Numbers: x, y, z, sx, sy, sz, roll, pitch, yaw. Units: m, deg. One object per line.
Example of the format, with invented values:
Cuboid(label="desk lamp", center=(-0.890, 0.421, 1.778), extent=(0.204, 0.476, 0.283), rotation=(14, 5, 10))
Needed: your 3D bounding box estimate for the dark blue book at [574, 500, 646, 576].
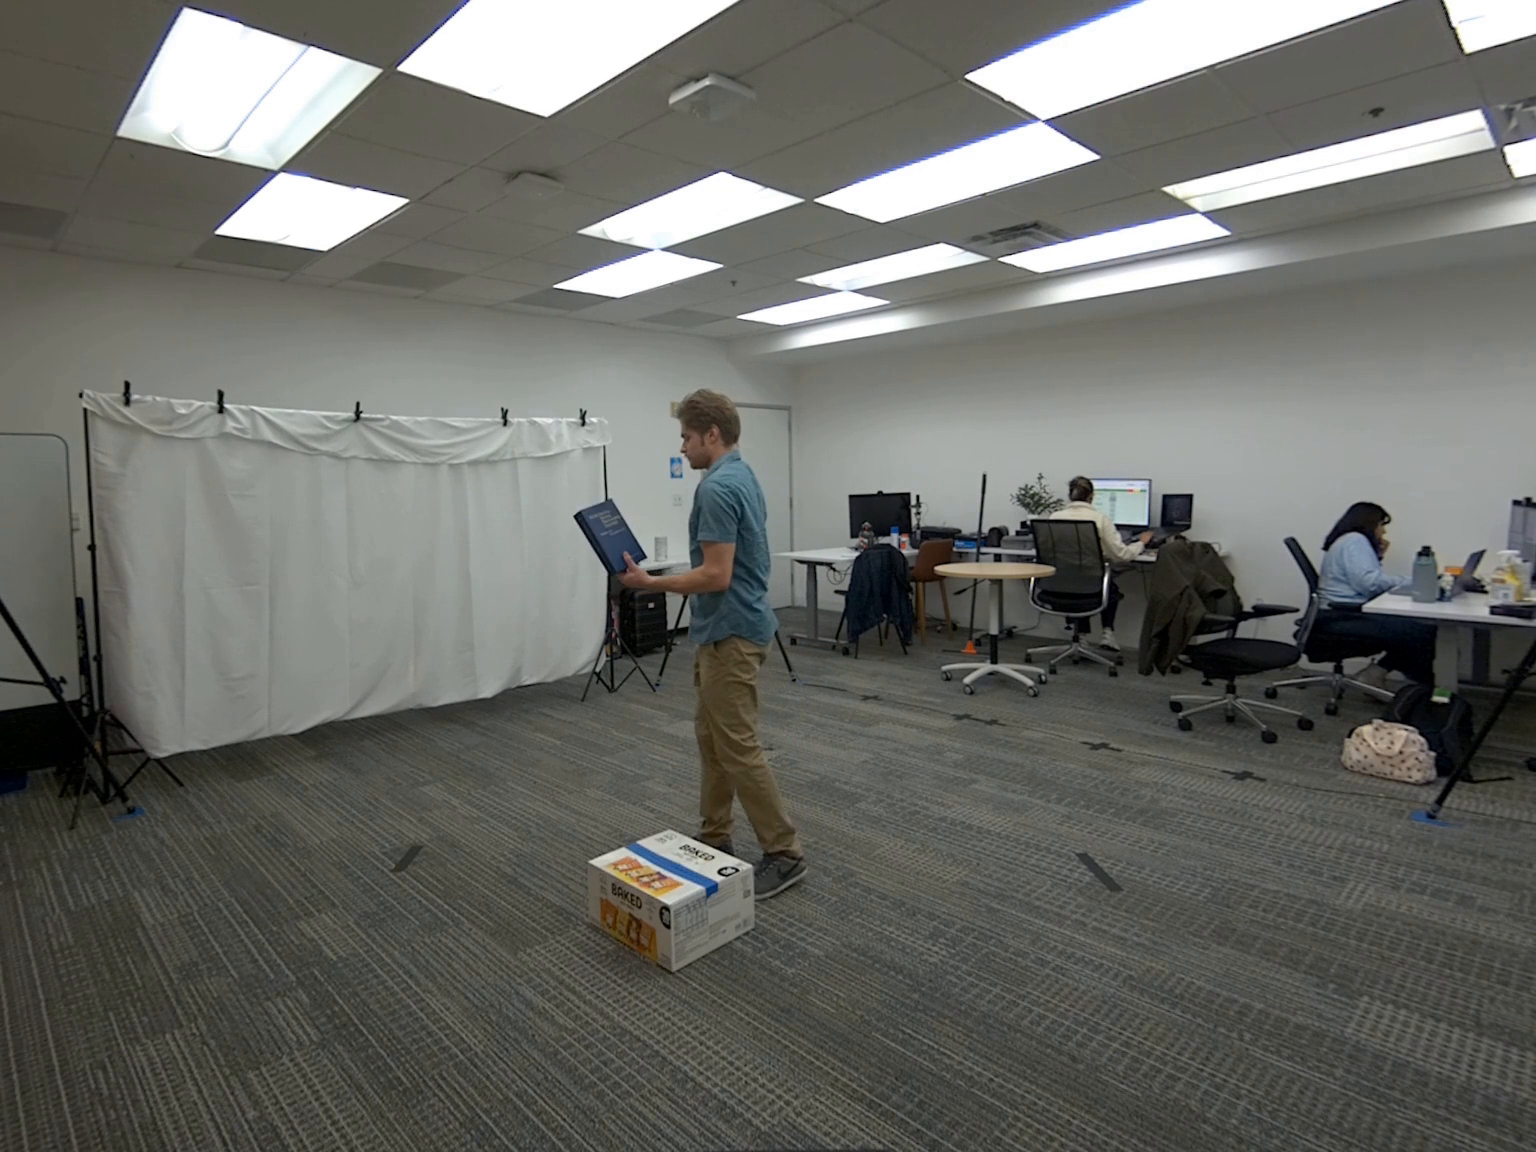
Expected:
Cuboid(label="dark blue book", center=(-0.532, -0.137, 2.939), extent=(0.045, 0.246, 0.161), rotation=(-36, -4, 36))
